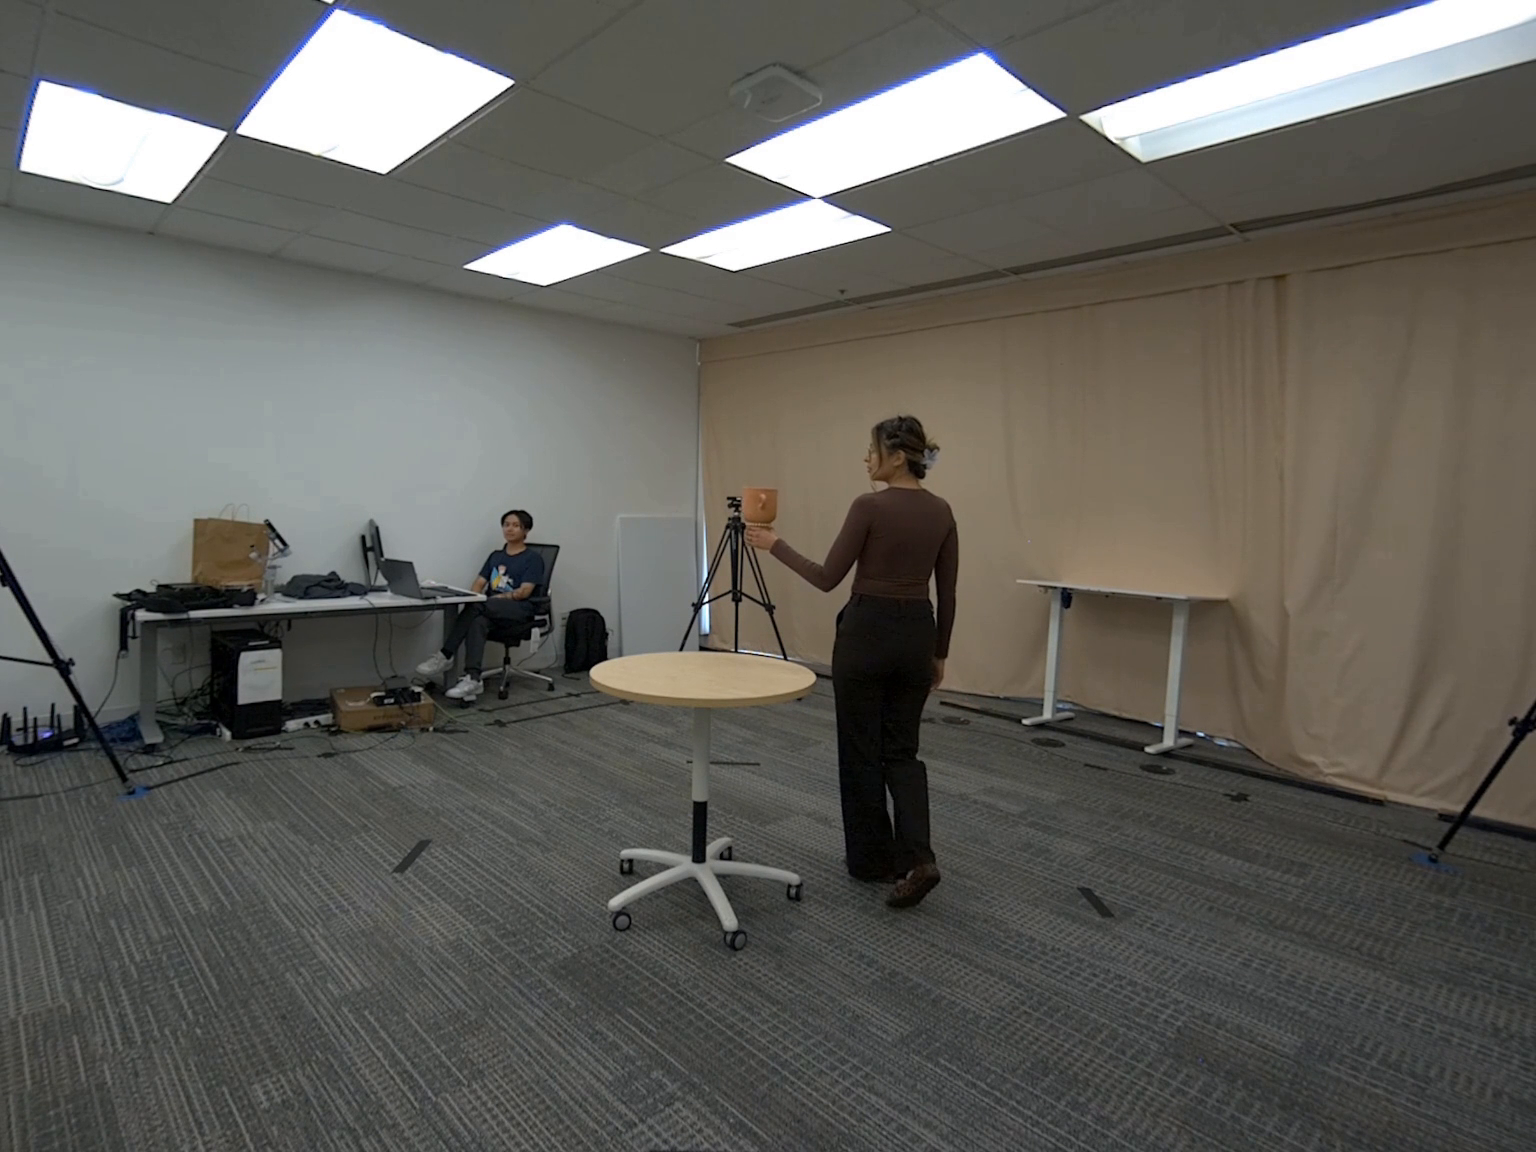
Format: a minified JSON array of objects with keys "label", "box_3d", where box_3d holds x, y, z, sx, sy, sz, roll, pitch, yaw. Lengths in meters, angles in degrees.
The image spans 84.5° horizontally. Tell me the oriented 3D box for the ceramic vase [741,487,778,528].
[{"label":"ceramic vase","box_3d":[-0.037,-0.223,3.164,0.137,0.219,0.156,1,2,29]}]
